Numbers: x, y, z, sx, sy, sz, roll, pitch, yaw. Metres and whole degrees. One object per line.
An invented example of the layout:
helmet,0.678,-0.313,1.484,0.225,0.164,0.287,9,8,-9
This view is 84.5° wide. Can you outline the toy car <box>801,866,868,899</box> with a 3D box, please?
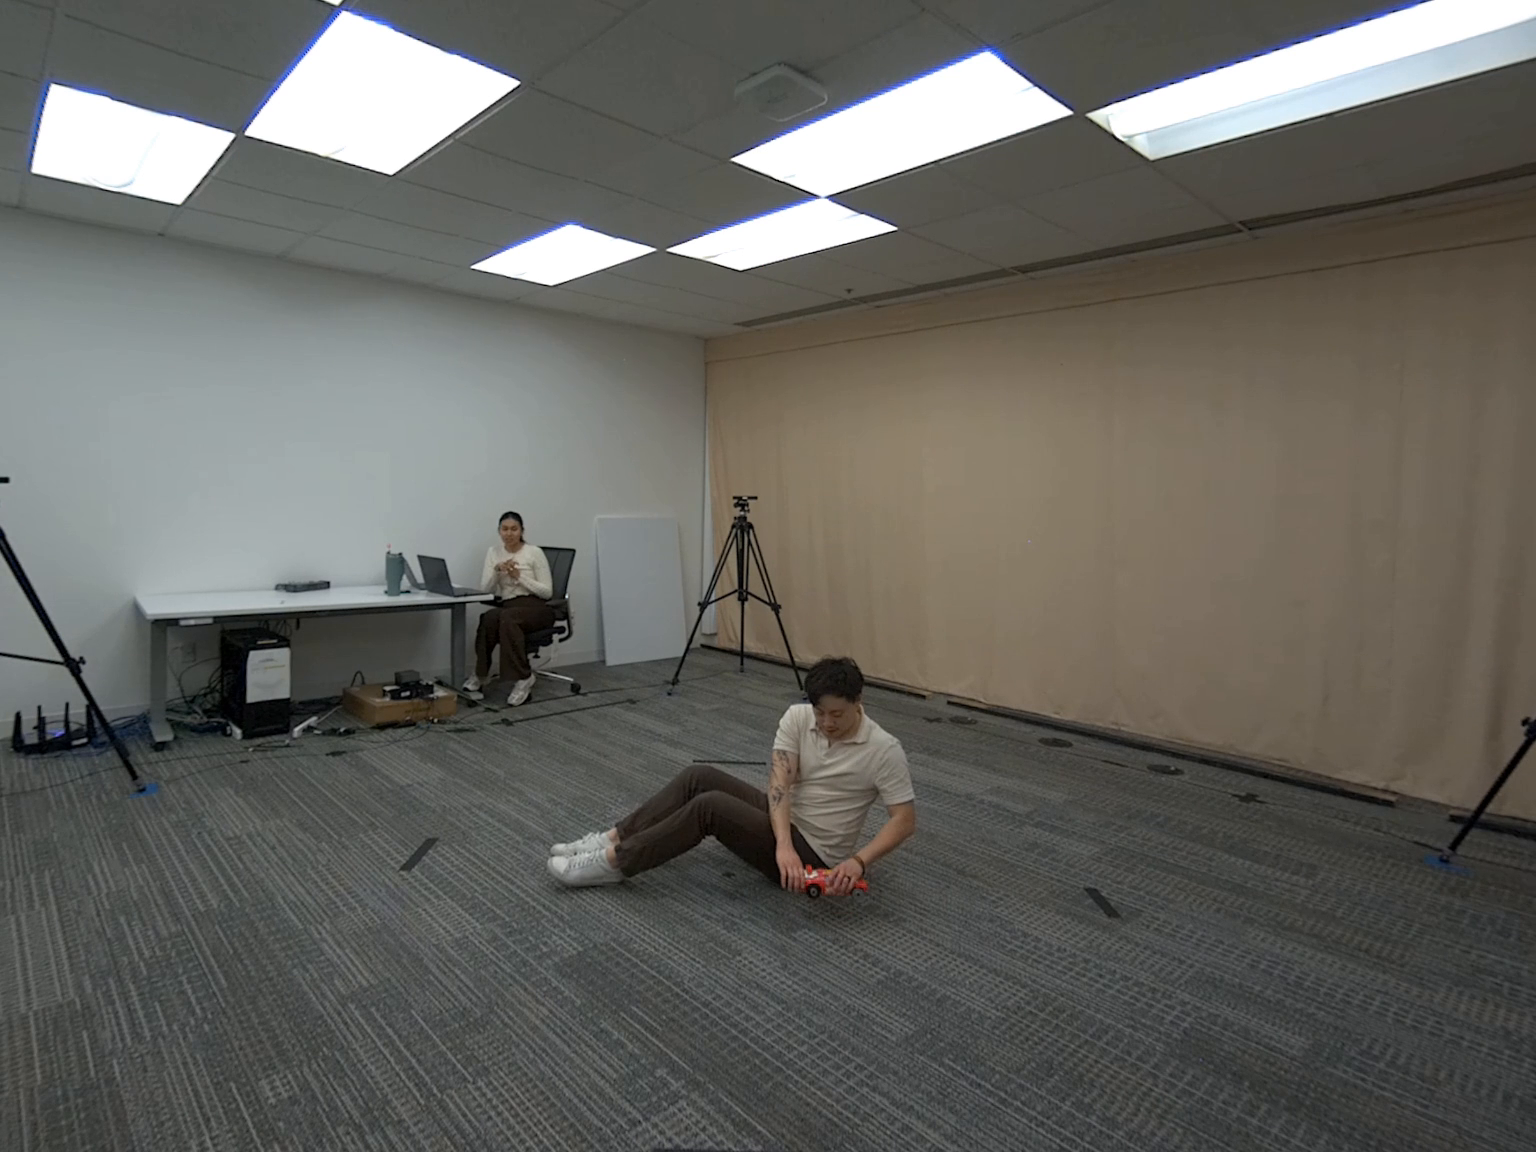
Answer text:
toy car,0.176,1.020,2.793,0.254,0.083,0.130,14,-4,-2
